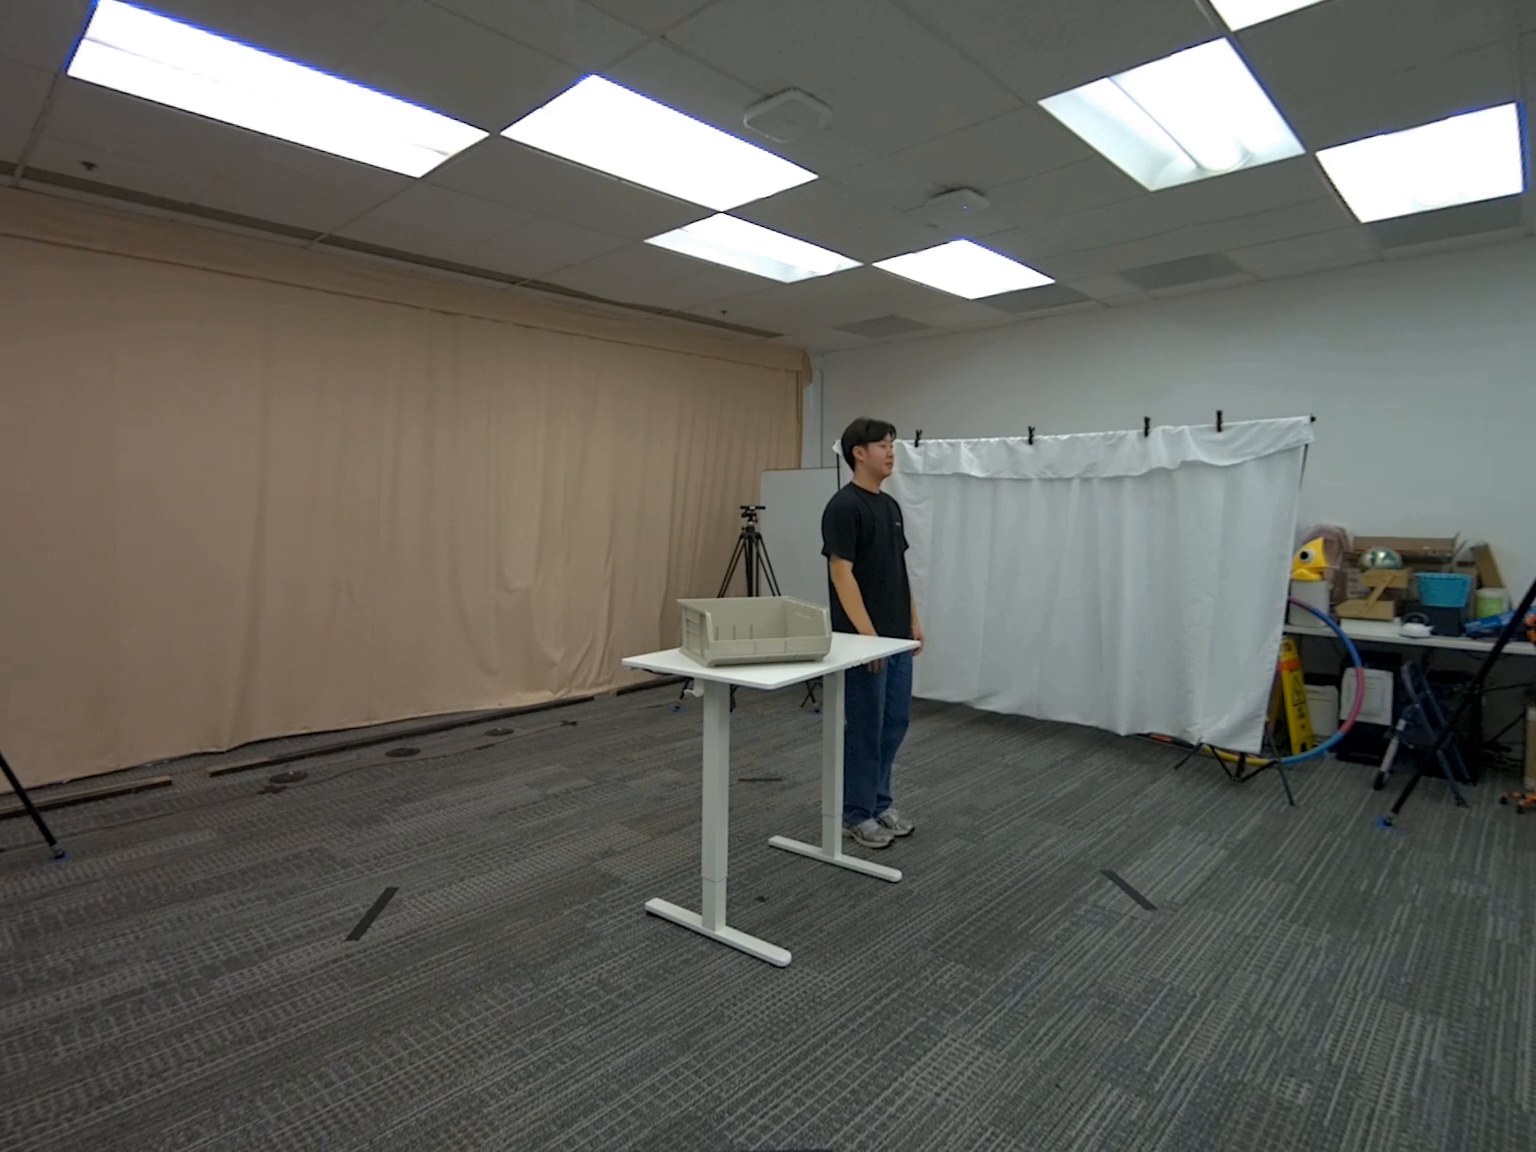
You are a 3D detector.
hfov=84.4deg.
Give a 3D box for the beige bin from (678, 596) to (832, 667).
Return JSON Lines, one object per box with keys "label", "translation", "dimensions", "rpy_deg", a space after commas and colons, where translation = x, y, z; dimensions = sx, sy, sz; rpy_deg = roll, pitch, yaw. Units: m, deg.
{"label": "beige bin", "translation": [-0.053, 0.187, 2.820], "dimensions": [0.414, 0.188, 0.385], "rpy_deg": [-1, 4, -19]}
